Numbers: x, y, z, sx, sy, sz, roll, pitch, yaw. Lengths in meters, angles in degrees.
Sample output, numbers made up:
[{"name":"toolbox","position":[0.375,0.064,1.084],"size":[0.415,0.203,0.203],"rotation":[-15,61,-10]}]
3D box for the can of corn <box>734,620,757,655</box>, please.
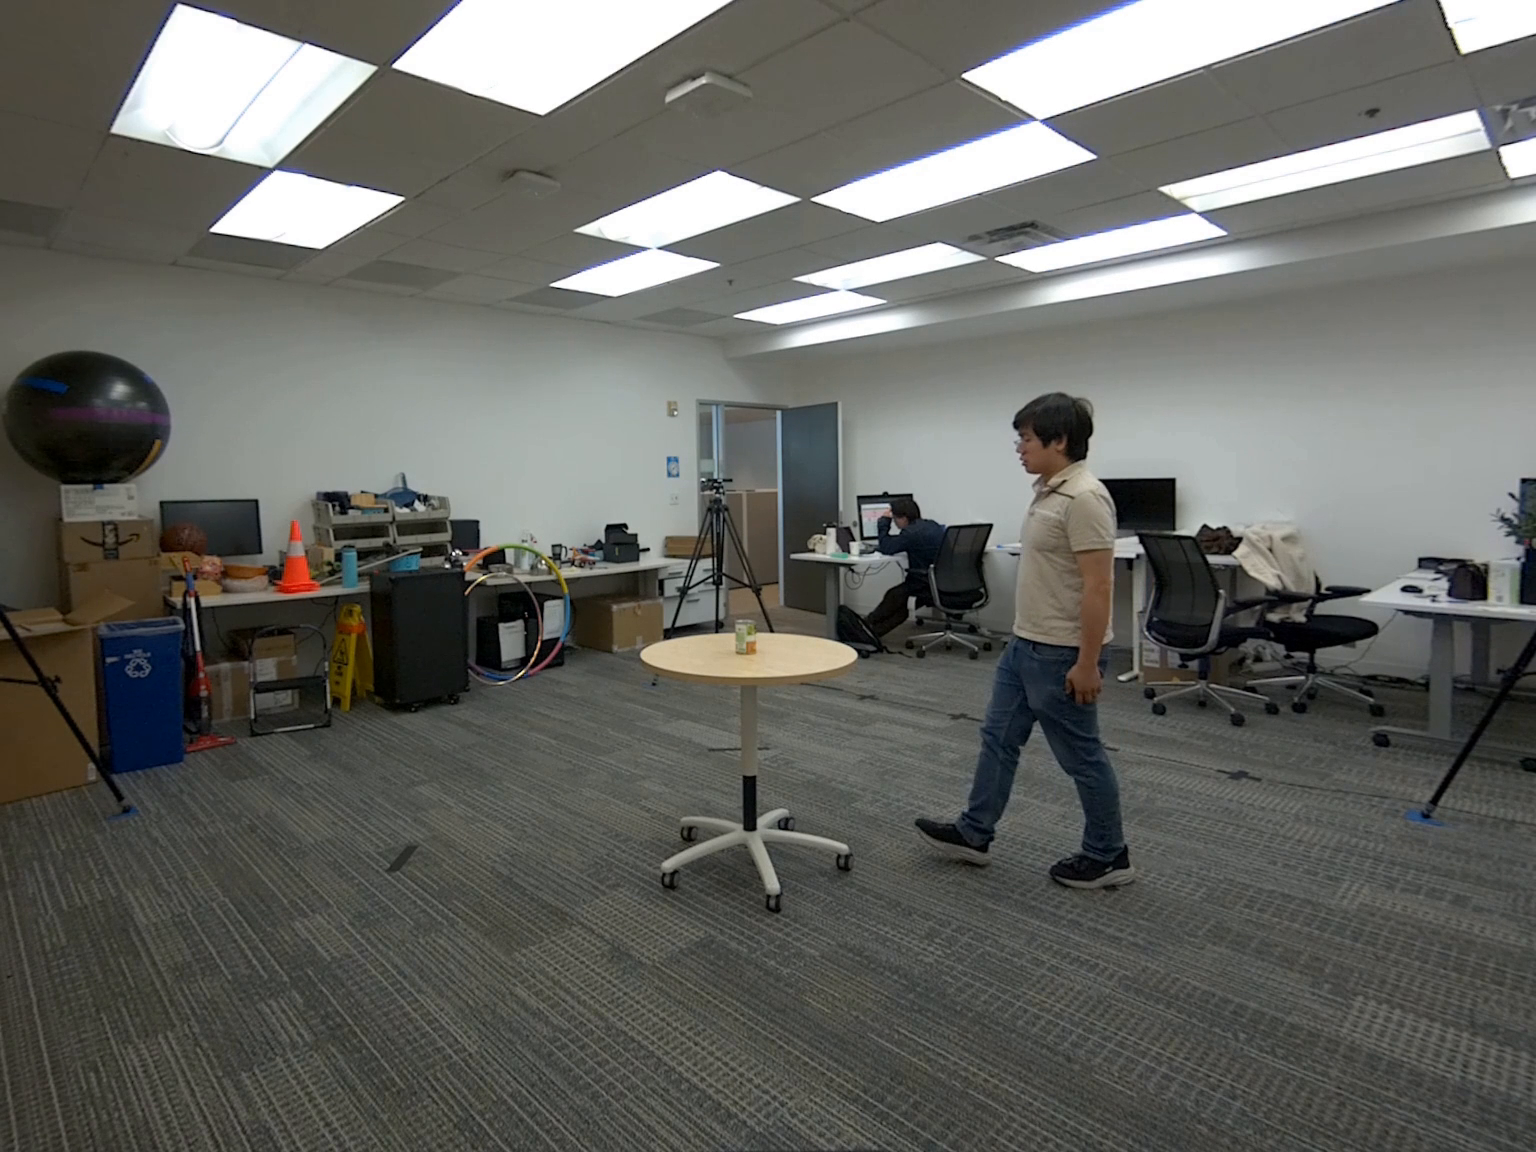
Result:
[{"name":"can of corn","position":[-0.075,0.213,3.011],"size":[0.074,0.111,0.074],"rotation":[0,3,-2]}]
